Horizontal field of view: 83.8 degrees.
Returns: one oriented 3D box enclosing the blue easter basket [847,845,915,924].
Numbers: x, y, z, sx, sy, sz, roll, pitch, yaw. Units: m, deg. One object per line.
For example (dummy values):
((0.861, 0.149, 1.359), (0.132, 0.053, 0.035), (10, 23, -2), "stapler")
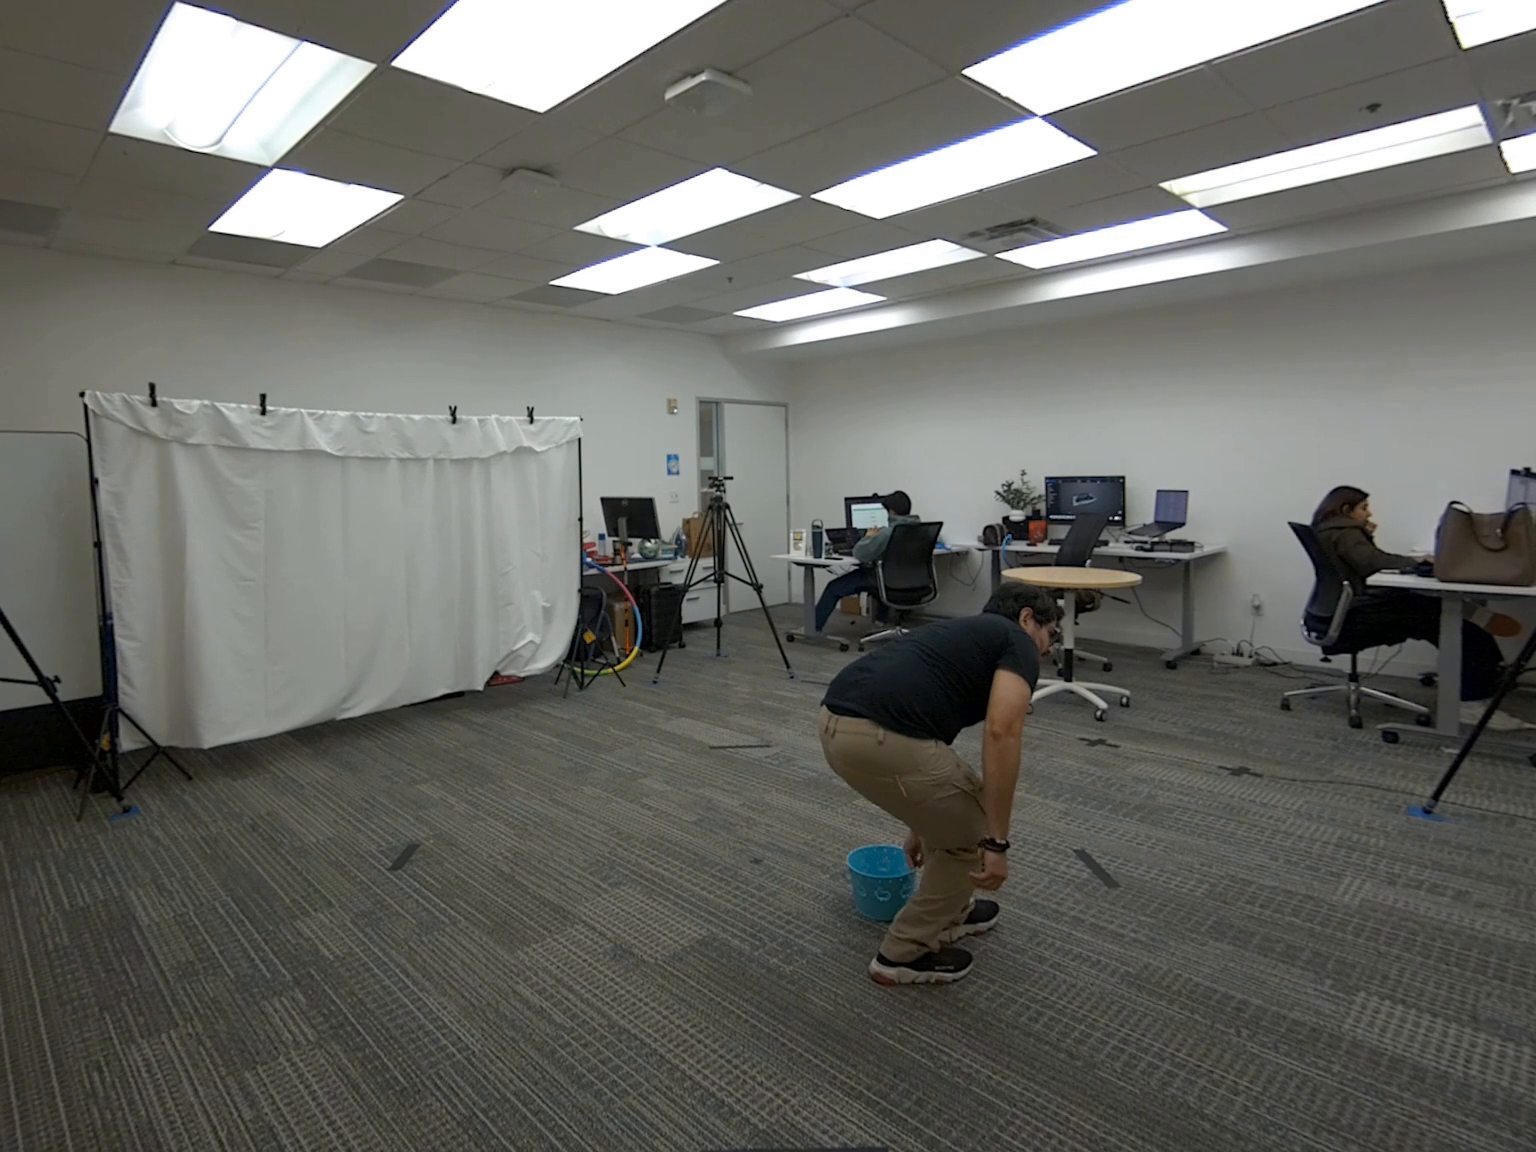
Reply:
((0.381, 0.991, 2.754), (0.243, 0.155, 0.245), (-3, 5, -1), "blue easter basket")
